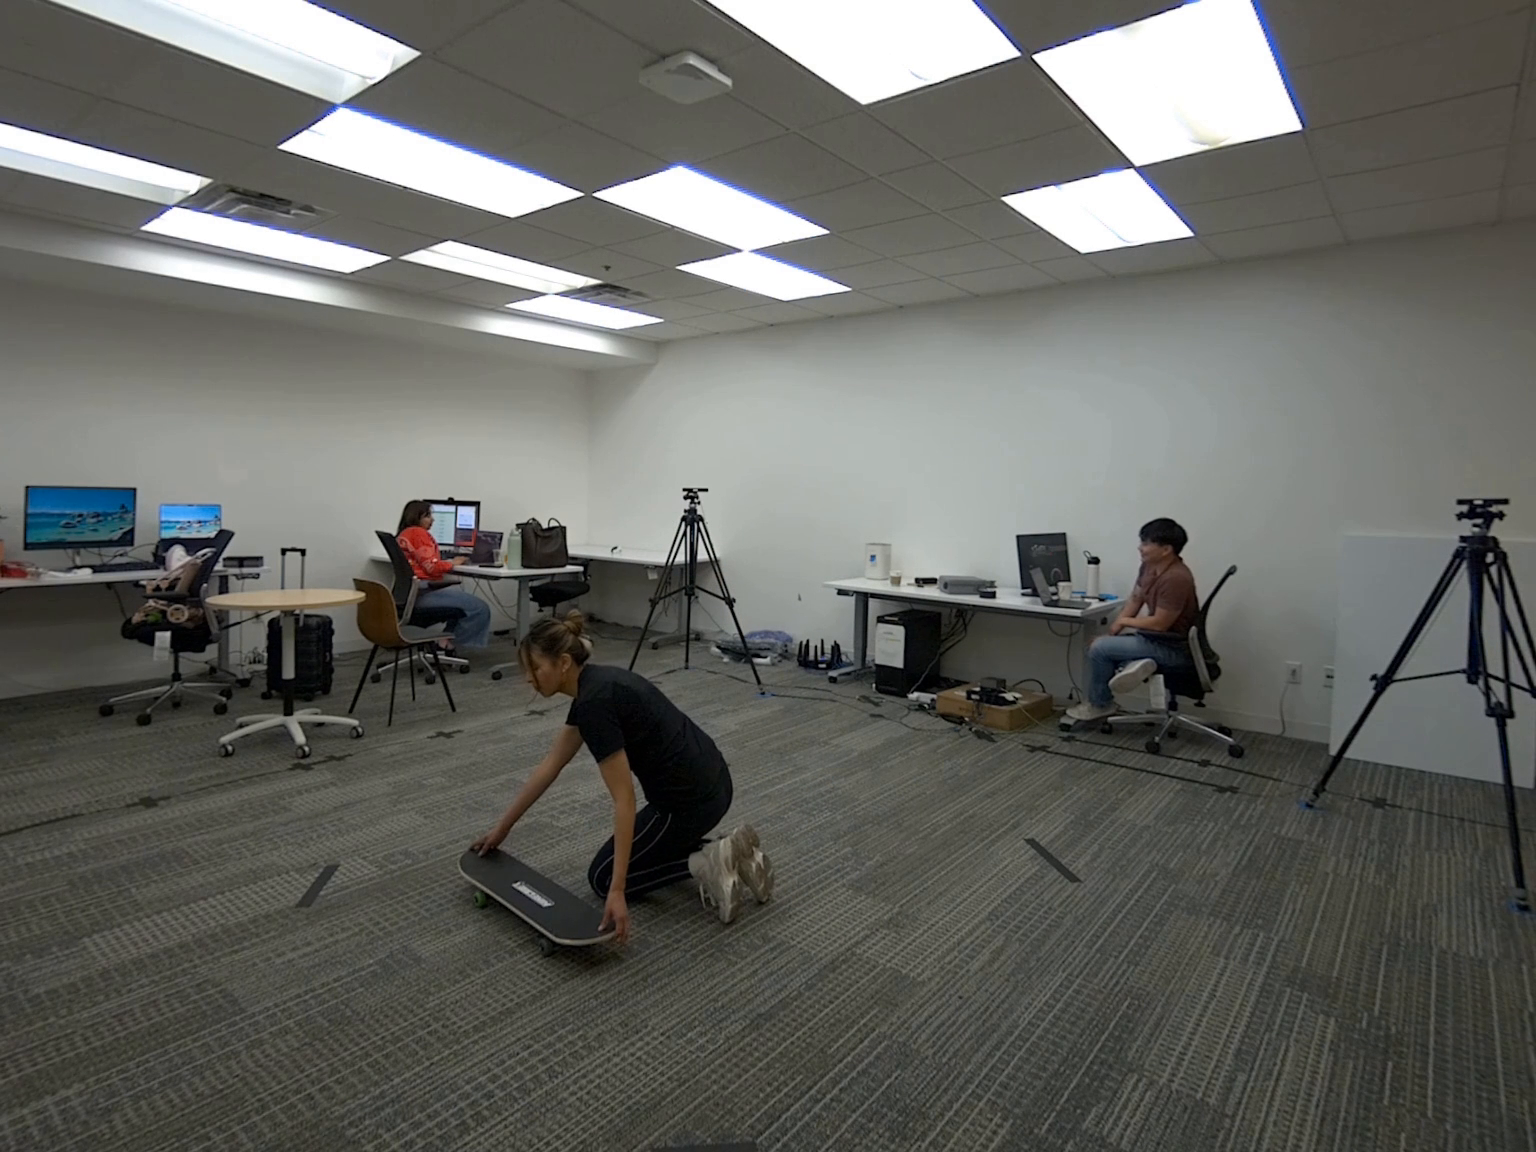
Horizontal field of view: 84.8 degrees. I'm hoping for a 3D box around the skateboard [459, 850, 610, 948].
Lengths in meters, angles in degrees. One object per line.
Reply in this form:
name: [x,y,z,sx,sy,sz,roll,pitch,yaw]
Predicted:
skateboard: [-0.762,1.043,2.717,0.812,0.110,0.188,5,7,44]
